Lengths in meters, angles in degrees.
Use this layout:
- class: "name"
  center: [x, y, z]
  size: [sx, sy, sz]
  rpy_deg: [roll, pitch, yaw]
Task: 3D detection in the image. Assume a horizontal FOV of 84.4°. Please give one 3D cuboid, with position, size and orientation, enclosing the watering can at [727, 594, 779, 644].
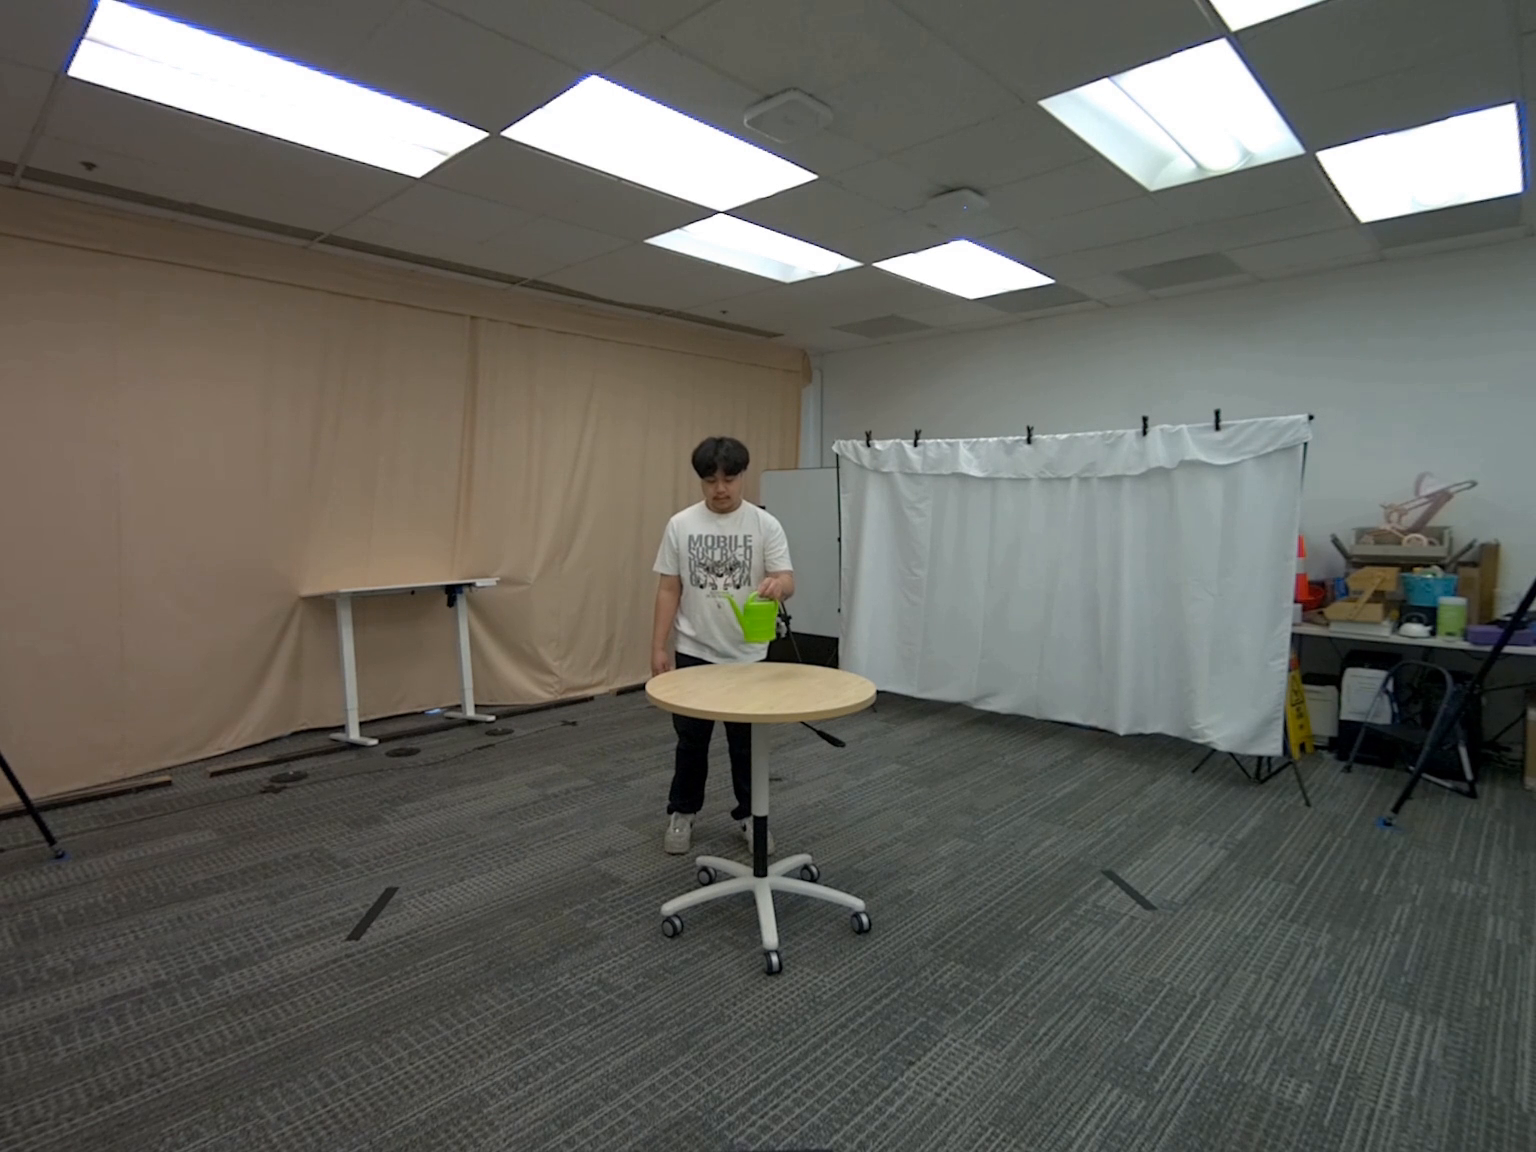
- class: "watering can"
  center: [-0.062, 0.144, 2.953]
  size: [0.270, 0.177, 0.101]
  rpy_deg: [0, 1, -32]
